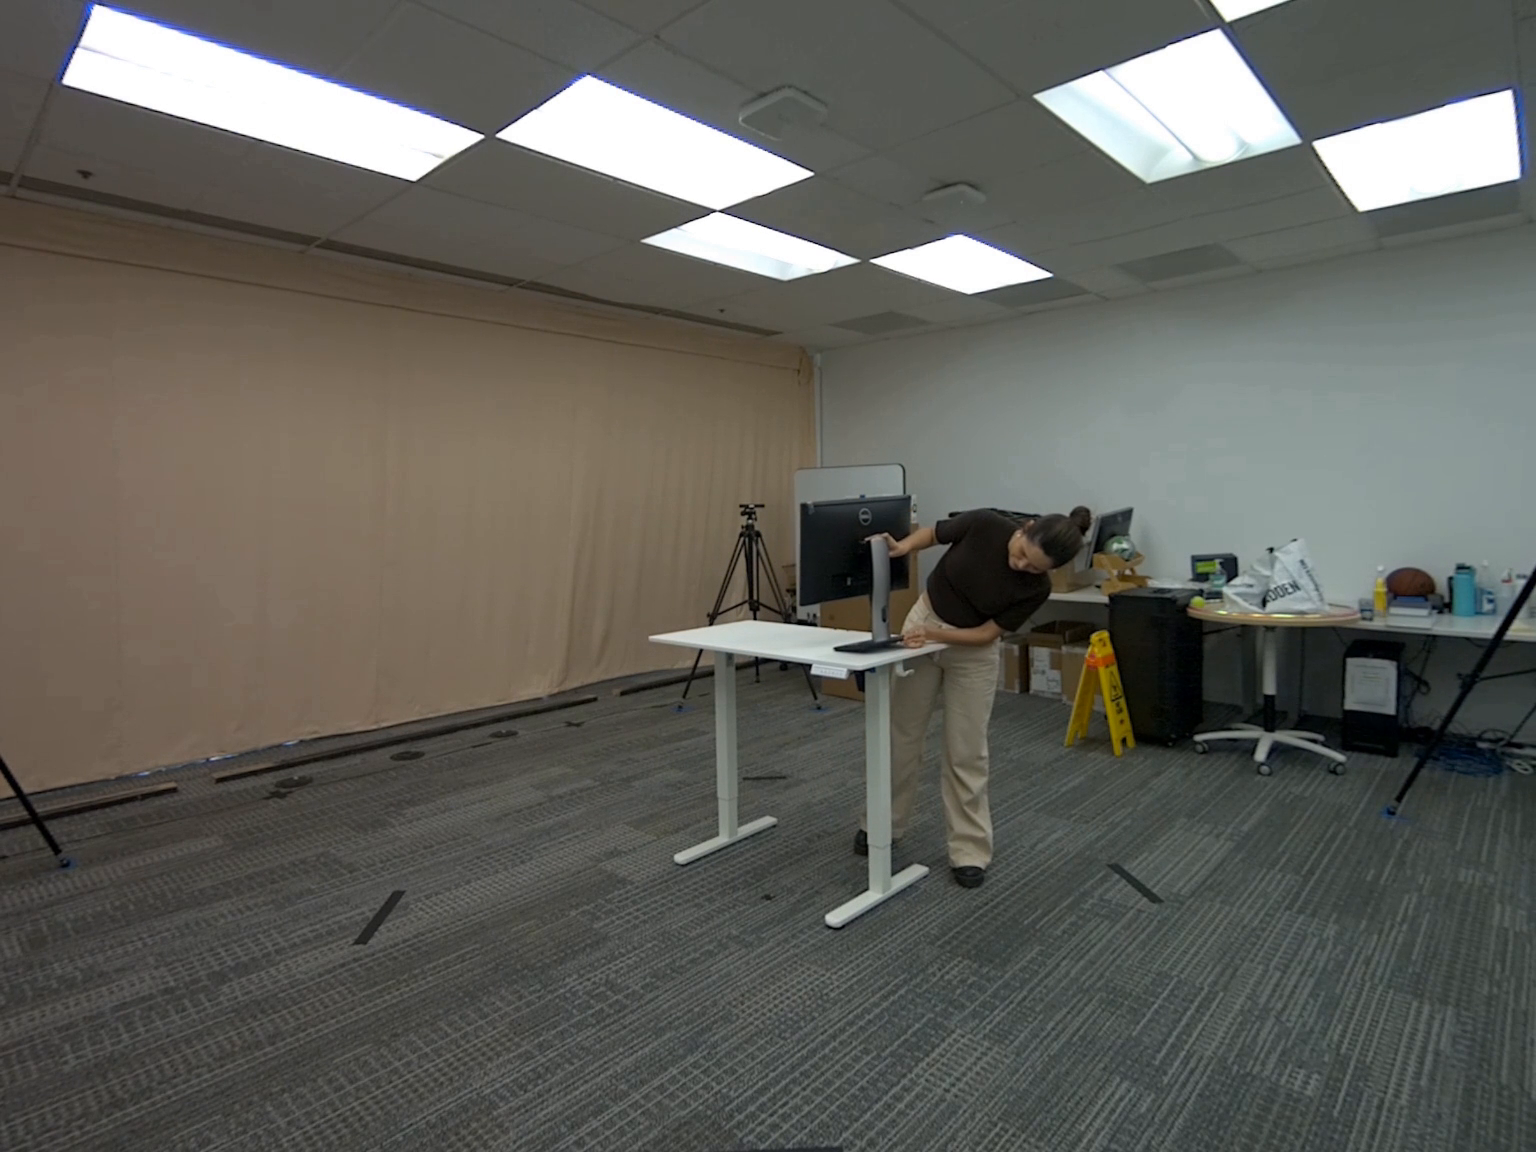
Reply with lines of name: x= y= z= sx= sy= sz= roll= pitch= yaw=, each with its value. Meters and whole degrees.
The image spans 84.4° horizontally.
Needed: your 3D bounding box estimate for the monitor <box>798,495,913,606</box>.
monitor: x=0.359 y=-0.010 z=2.943 sx=0.524 sy=0.523 sz=0.192 roll=-7 pitch=-1 yaw=-37
